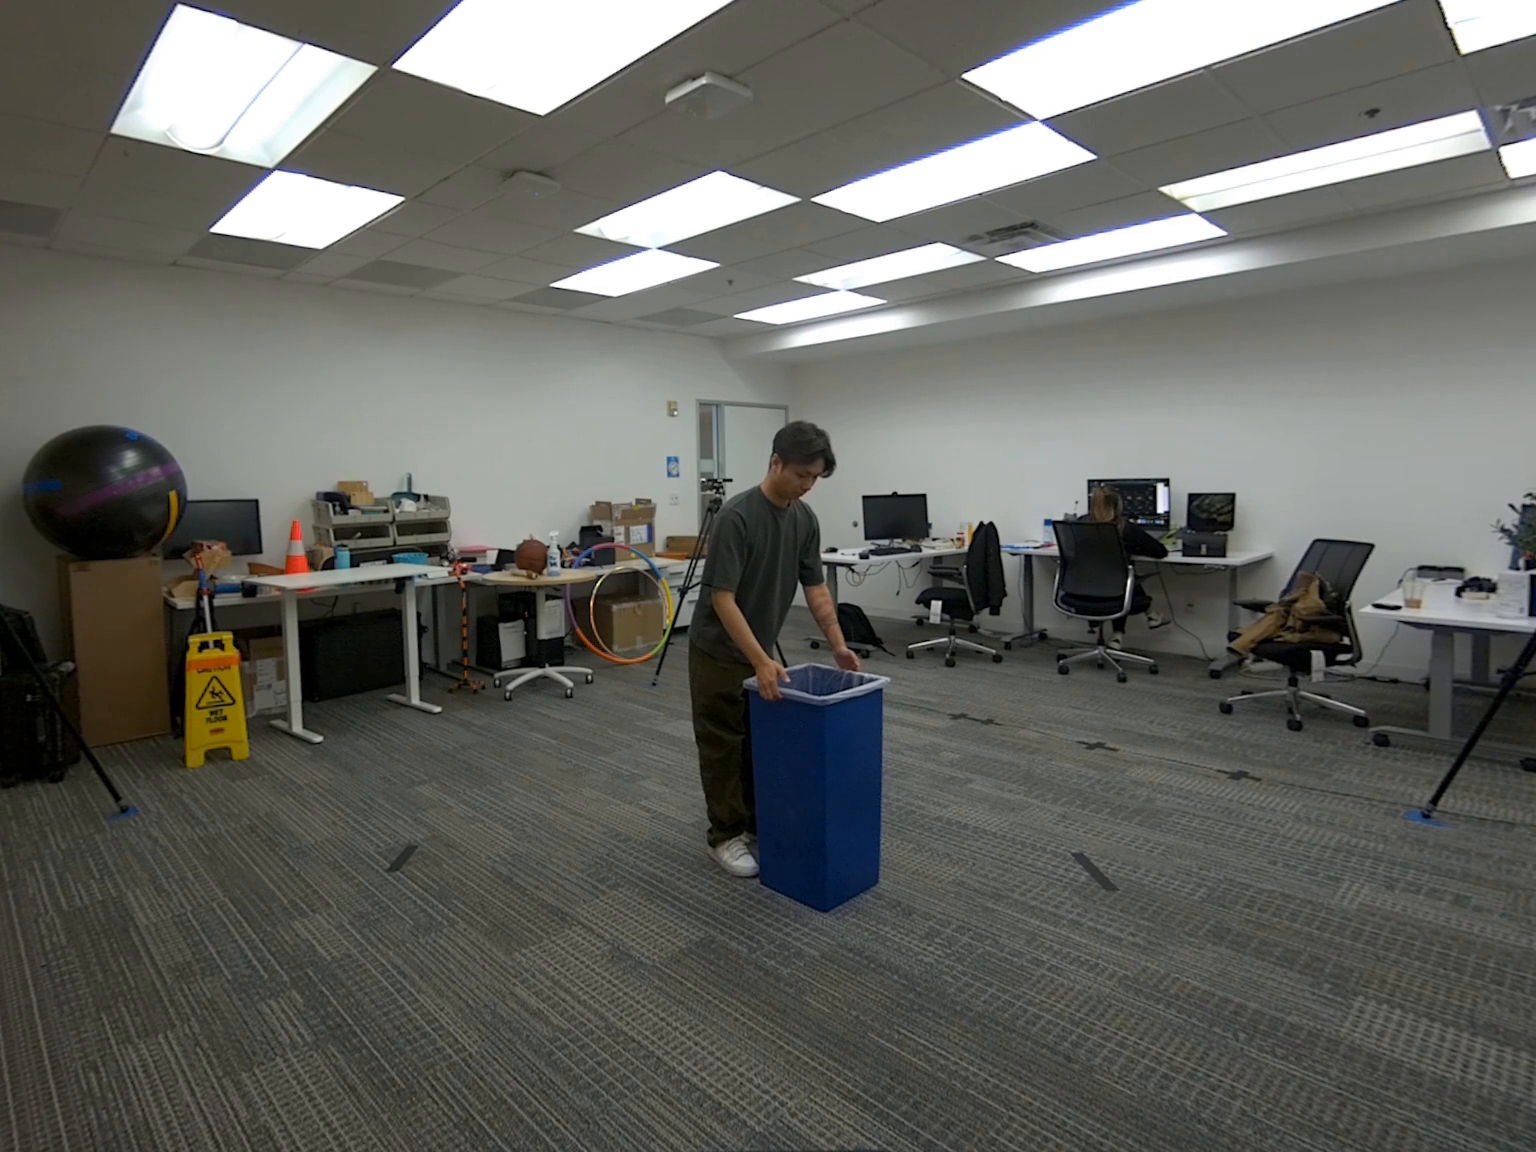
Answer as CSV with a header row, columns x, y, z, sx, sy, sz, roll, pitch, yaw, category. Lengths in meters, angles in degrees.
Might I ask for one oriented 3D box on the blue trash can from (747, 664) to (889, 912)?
x,y,z,sx,sy,sz,roll,pitch,yaw,category
0.180,0.704,2.922,0.385,0.711,0.368,2,6,44,blue trash can
